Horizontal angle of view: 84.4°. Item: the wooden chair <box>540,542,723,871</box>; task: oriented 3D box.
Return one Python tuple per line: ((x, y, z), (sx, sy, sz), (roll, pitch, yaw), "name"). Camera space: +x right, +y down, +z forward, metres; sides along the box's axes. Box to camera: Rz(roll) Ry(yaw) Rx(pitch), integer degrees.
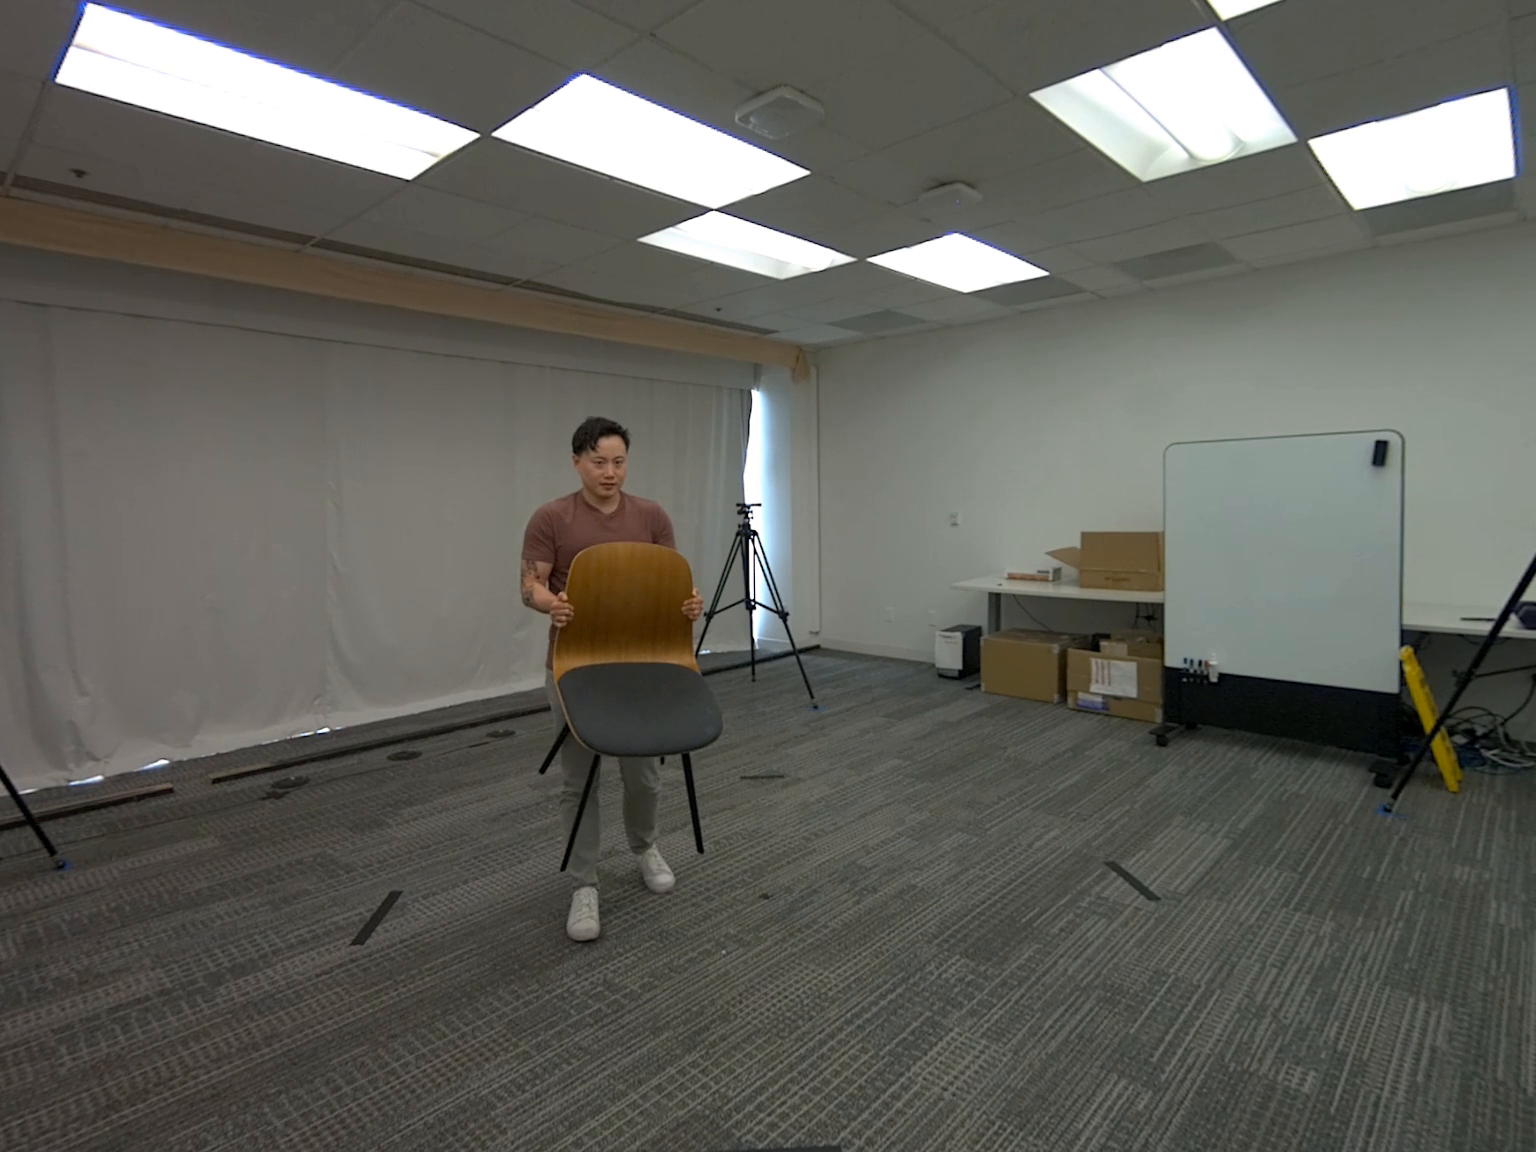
((-0.394, 0.400, 2.588), (0.467, 0.870, 0.540), (1, 21, -24), "wooden chair")
